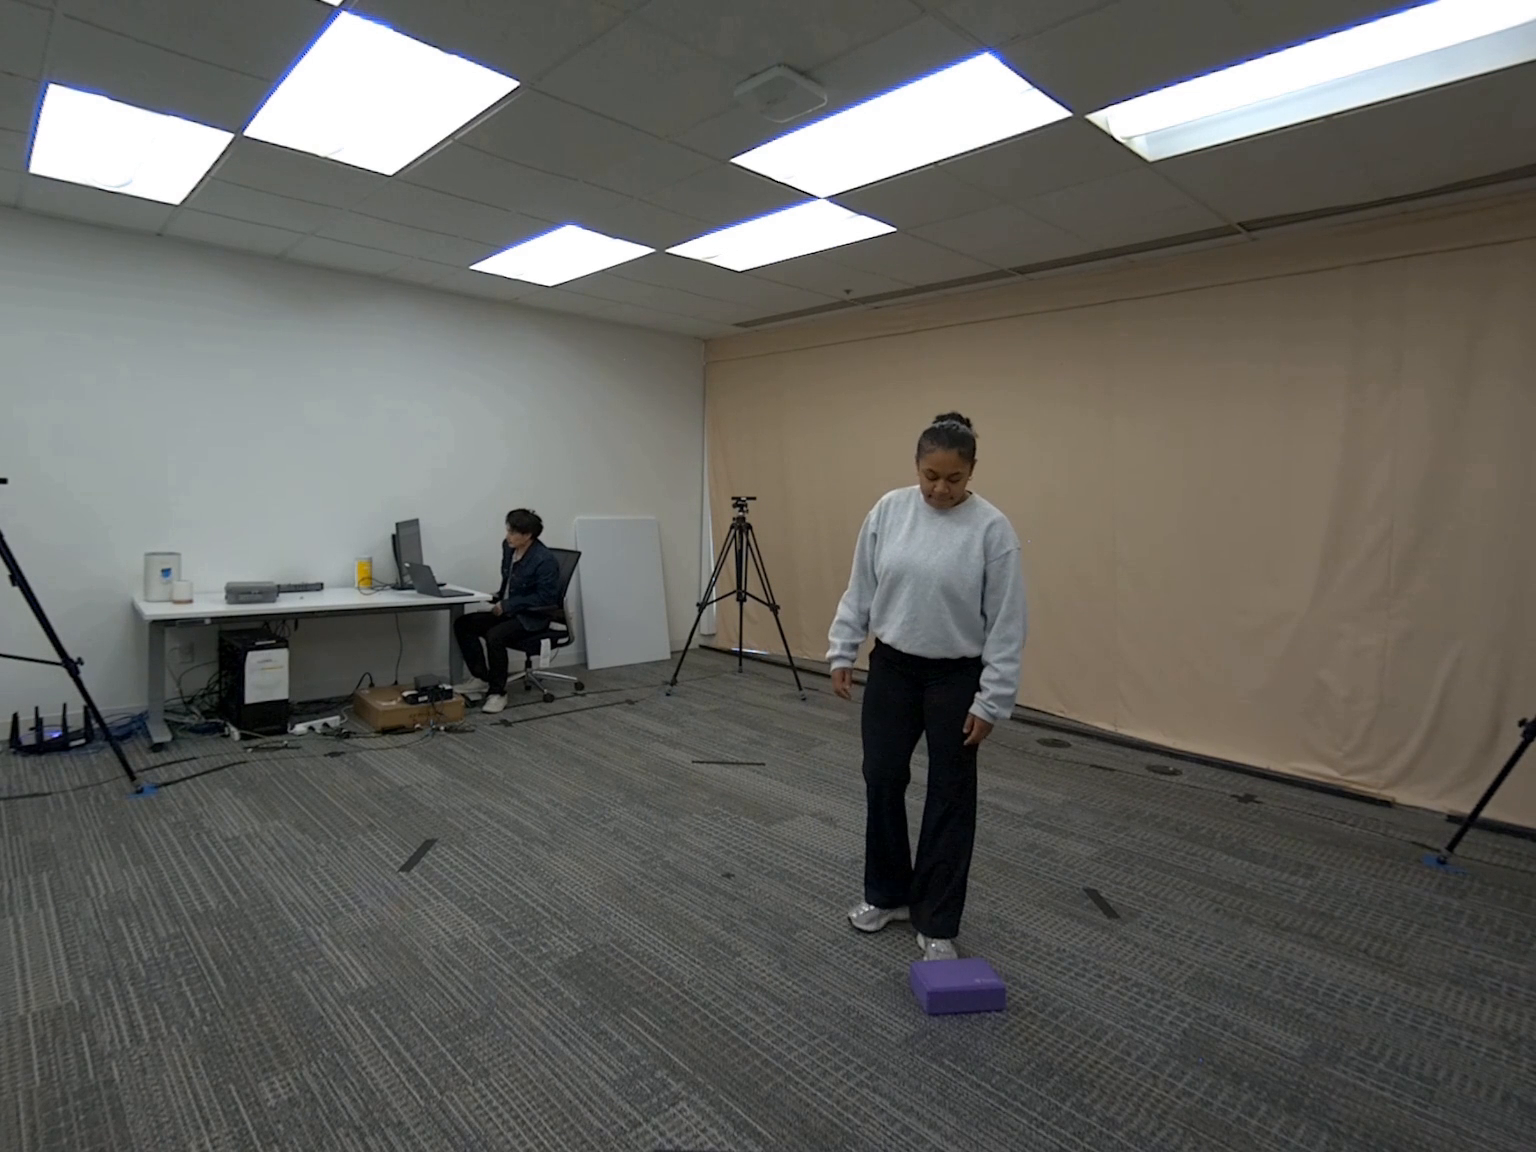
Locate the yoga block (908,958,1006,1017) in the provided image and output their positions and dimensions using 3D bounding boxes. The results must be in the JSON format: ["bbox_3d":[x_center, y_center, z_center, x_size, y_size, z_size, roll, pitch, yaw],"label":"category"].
[{"bbox_3d":[0.520,1.155,2.368,0.228,0.076,0.150,0,6,-9],"label":"yoga block"}]
